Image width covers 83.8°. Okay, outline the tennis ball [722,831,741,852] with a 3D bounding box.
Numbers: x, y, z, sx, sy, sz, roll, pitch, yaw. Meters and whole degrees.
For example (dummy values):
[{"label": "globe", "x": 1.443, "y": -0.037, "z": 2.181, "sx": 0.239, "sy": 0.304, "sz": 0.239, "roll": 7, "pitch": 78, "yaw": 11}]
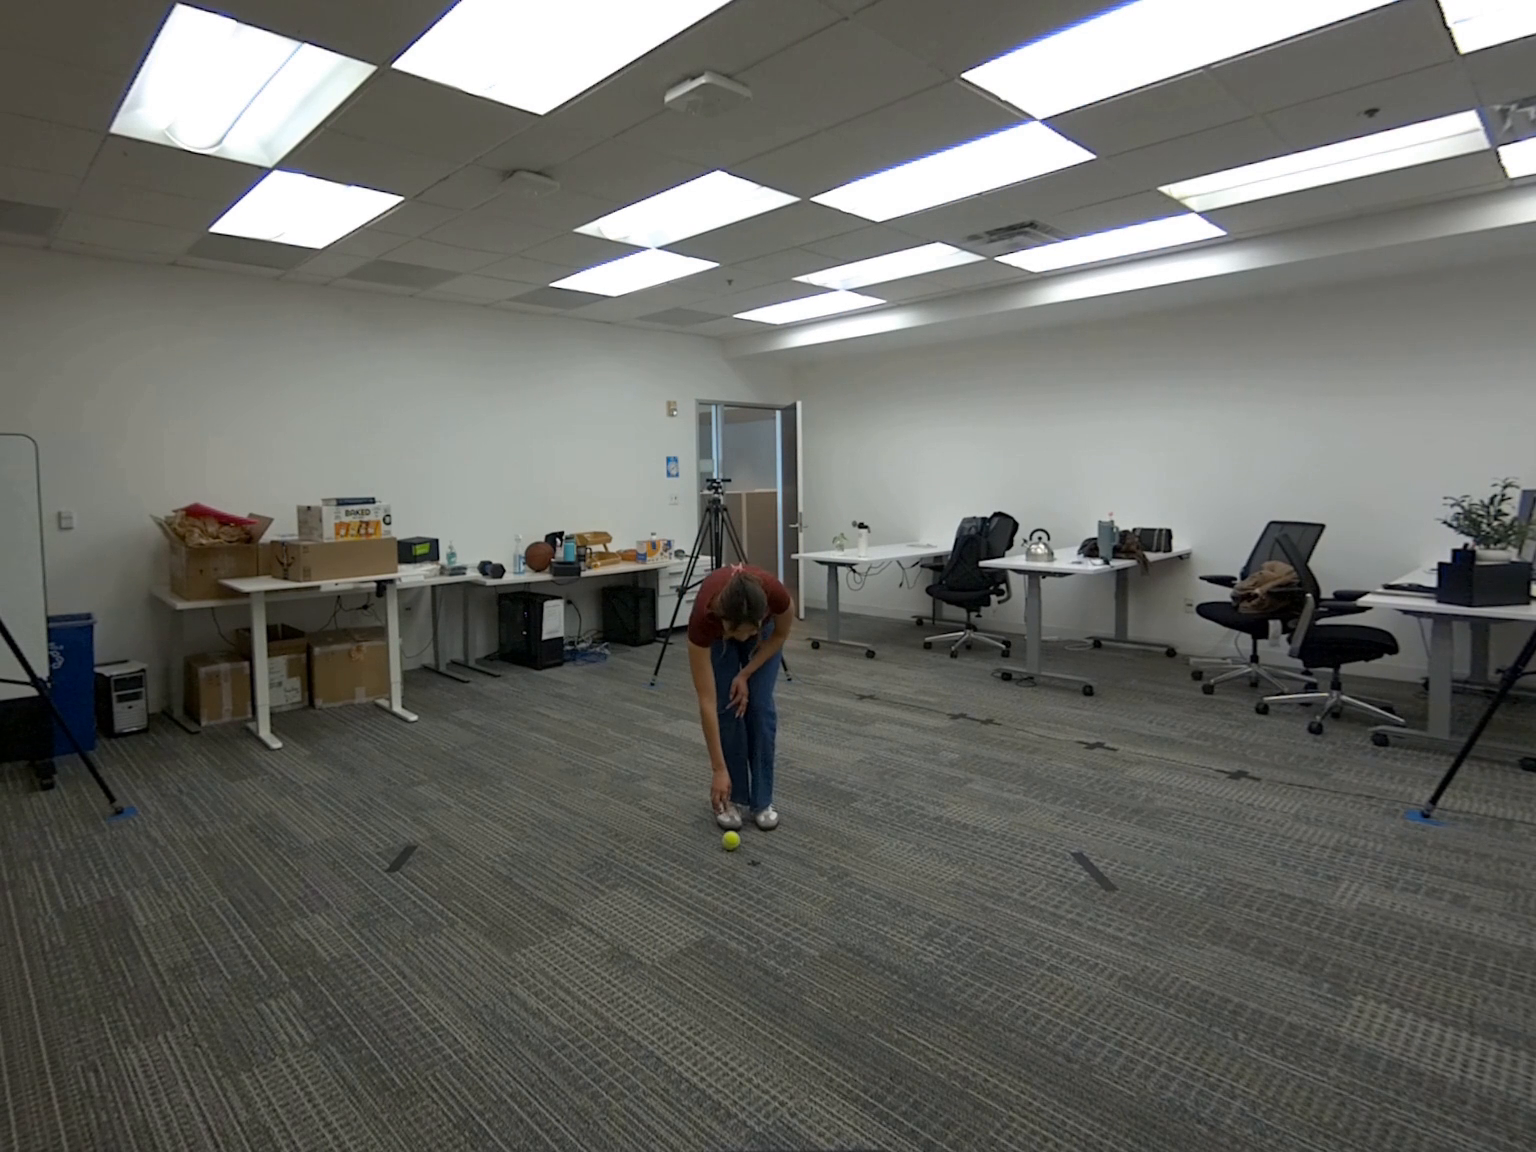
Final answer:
[{"label": "tennis ball", "x": -0.142, "y": 0.990, "z": 3.217, "sx": 0.066, "sy": 0.066, "sz": 0.067, "roll": -1, "pitch": 5, "yaw": -2}]
